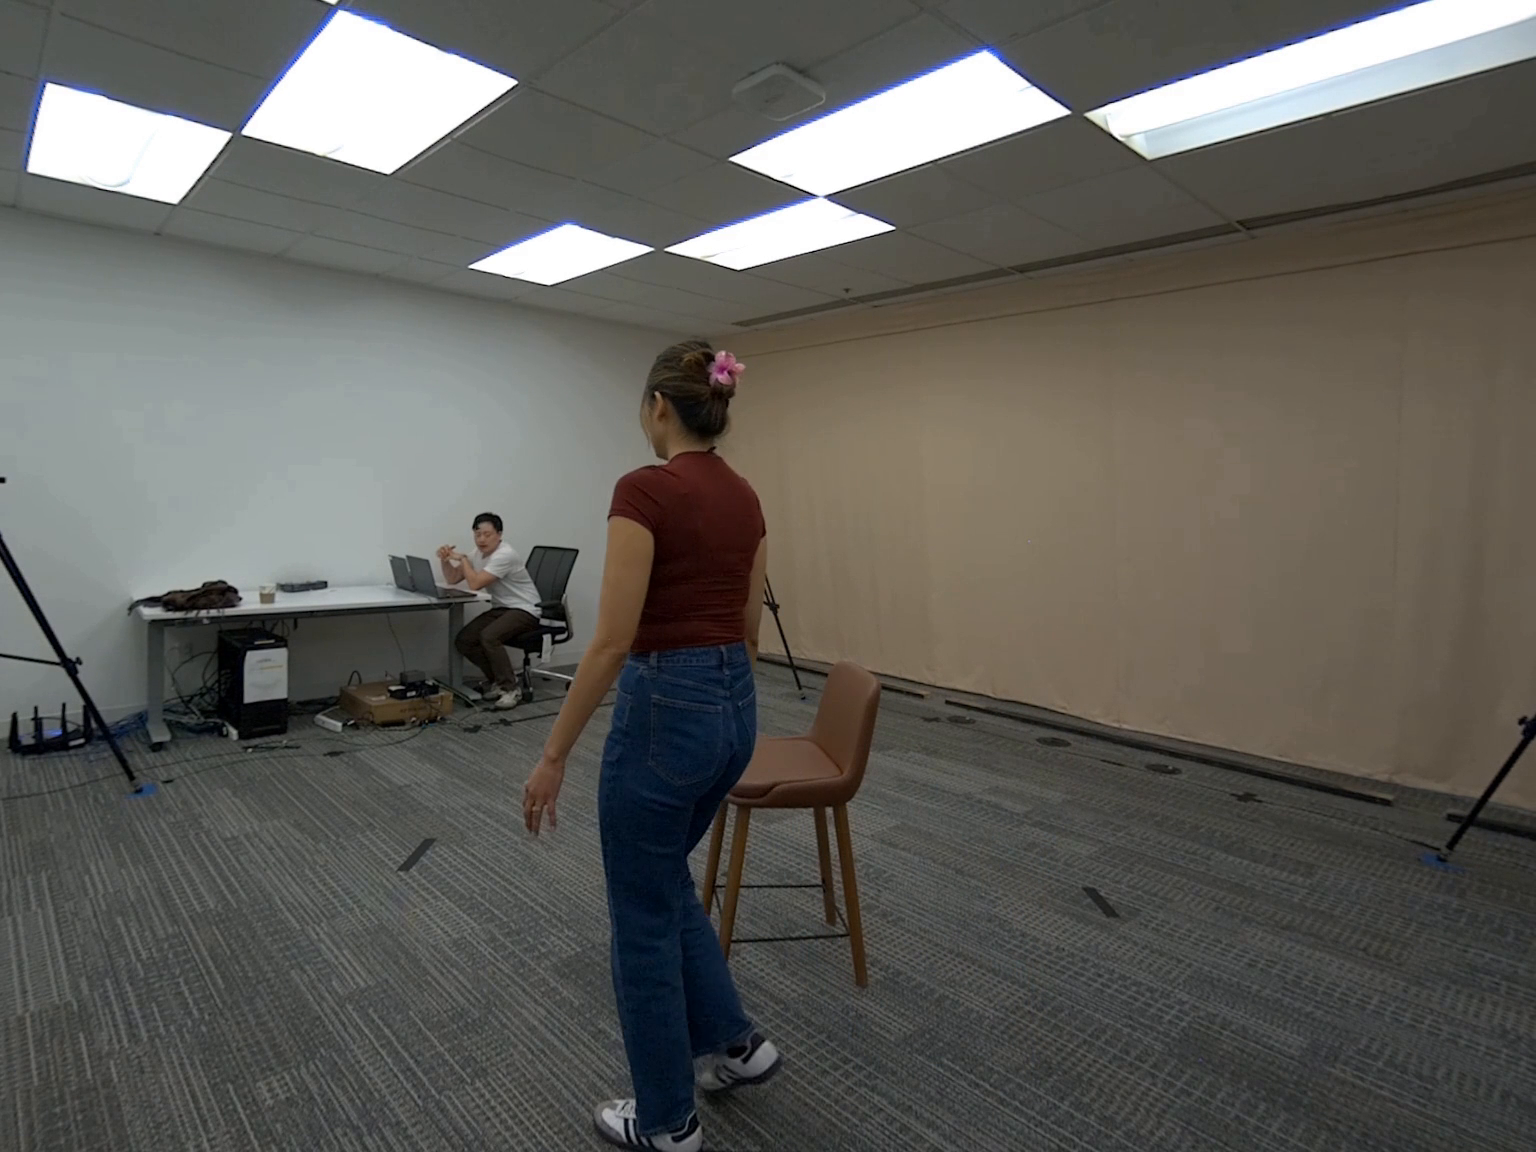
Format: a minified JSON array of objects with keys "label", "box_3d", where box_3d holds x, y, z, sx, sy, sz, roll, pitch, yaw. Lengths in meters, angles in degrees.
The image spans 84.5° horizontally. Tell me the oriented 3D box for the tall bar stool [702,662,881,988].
[{"label":"tall bar stool","box_3d":[0.049,0.729,2.532,0.464,0.887,0.461,2,4,-10]}]
